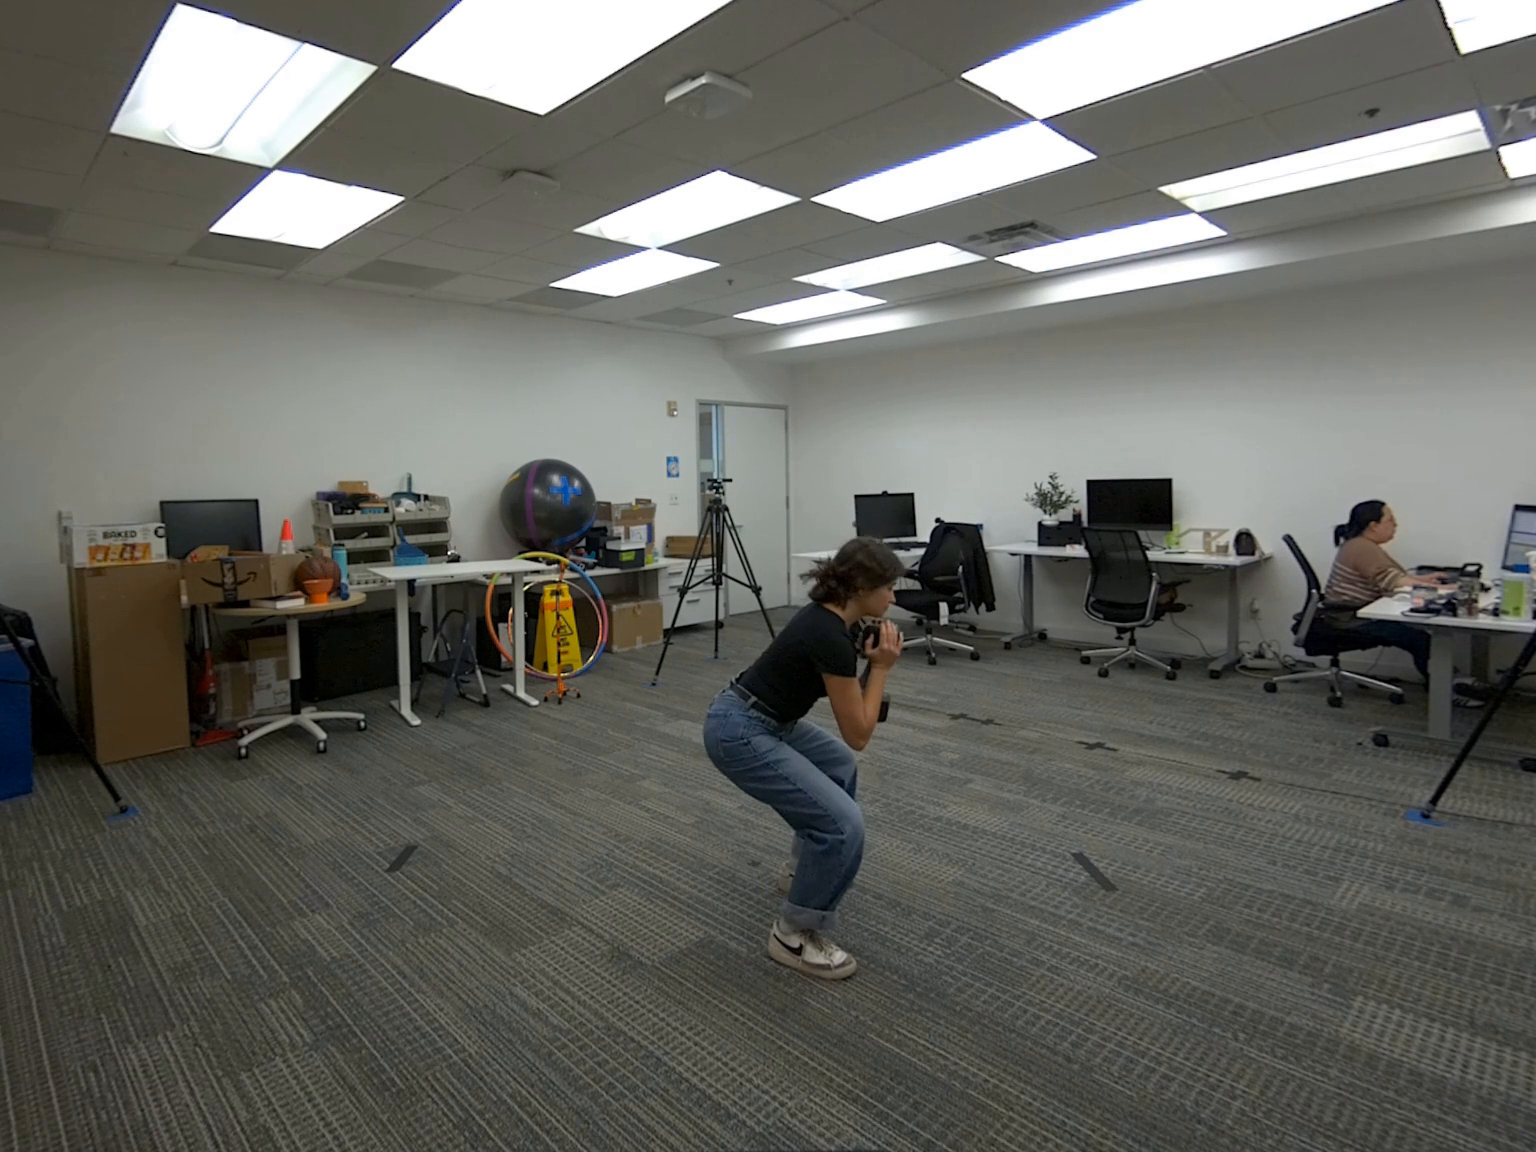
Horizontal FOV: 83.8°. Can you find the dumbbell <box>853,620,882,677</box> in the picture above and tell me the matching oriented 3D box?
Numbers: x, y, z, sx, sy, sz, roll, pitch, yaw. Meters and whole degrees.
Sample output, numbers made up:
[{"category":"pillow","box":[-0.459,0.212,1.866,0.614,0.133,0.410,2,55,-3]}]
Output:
[{"category":"dumbbell","box":[0.306,0.298,2.614,0.127,0.292,0.105,13,8,37]}]
